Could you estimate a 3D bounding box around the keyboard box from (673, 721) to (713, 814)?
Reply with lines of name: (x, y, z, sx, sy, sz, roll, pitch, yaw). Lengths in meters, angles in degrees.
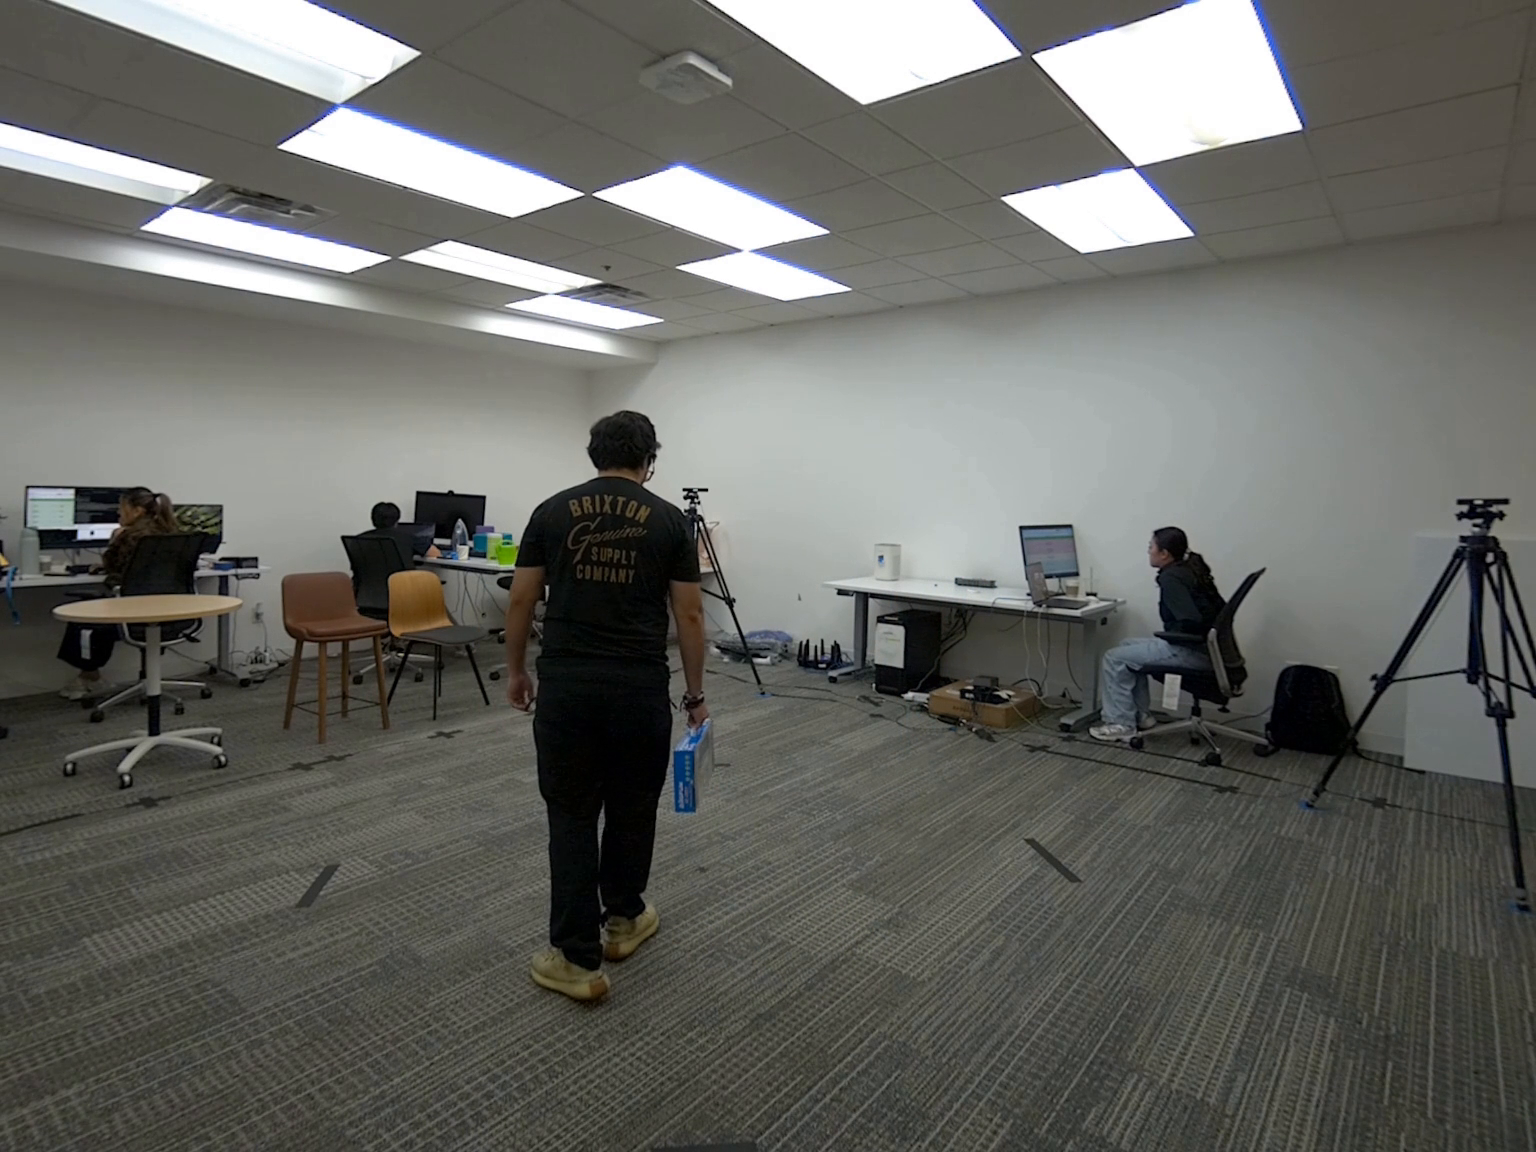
keyboard box: (-0.229, 0.555, 2.575, 0.059, 0.176, 0.436, 0, 3, 2)
